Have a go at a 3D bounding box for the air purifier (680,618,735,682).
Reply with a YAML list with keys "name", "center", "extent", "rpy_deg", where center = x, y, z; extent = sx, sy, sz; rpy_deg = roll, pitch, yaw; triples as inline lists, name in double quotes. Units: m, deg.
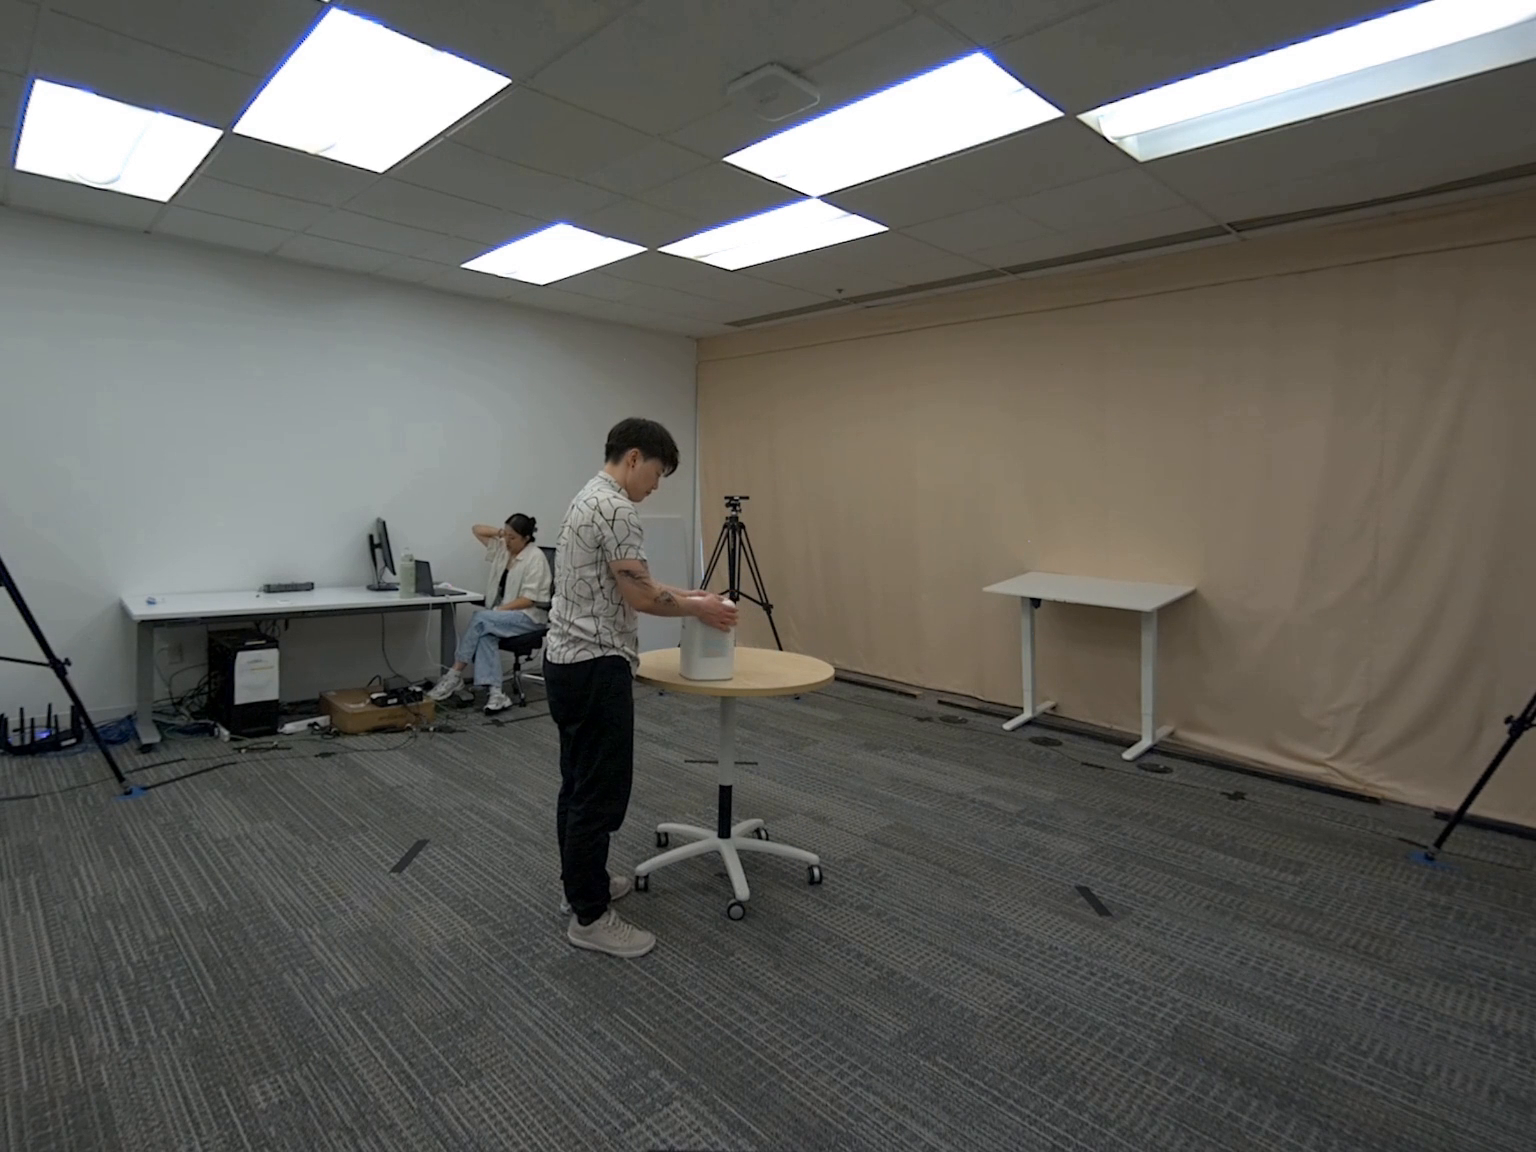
- name: "air purifier"
  center: [-0.207, 0.212, 2.862]
  extent: [0.169, 0.264, 0.174]
  rpy_deg: [0, 6, -15]
